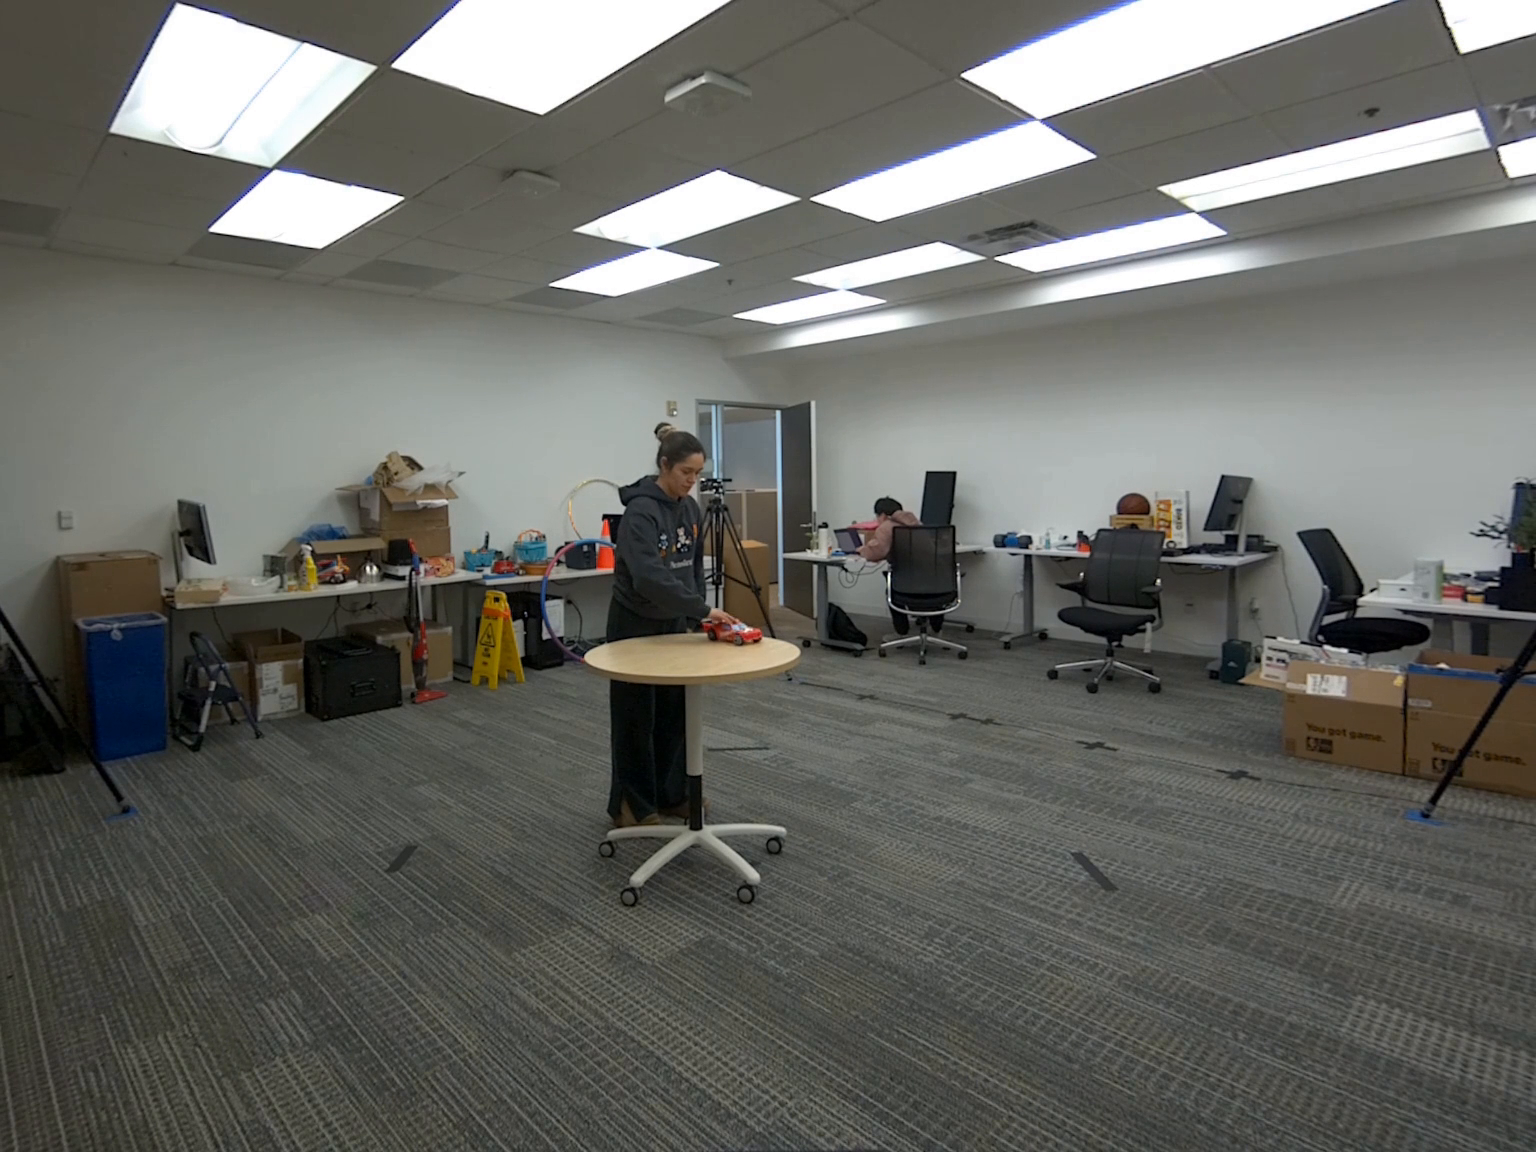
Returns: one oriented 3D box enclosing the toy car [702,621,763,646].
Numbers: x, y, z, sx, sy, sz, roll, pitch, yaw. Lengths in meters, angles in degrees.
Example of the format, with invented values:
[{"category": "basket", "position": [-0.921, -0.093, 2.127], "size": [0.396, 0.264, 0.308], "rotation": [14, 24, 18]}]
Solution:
[{"category": "toy car", "position": [-0.140, 0.217, 3.248], "size": [0.127, 0.082, 0.264], "rotation": [-6, 18, -42]}]
